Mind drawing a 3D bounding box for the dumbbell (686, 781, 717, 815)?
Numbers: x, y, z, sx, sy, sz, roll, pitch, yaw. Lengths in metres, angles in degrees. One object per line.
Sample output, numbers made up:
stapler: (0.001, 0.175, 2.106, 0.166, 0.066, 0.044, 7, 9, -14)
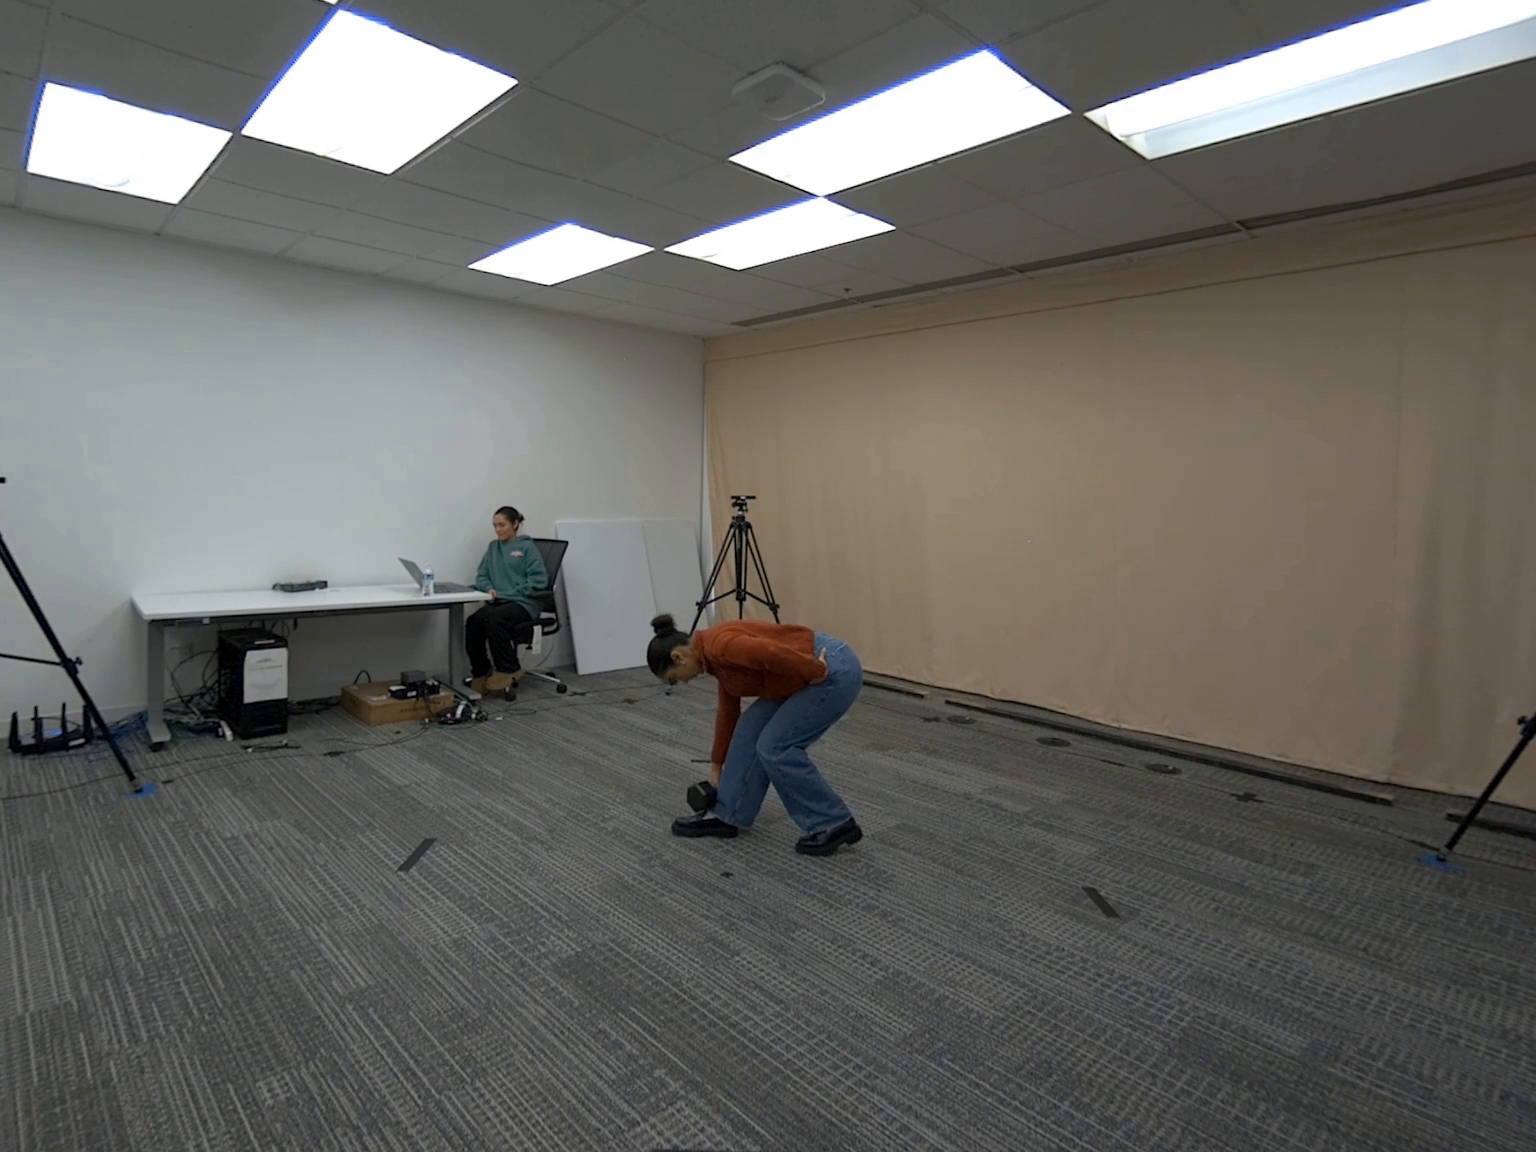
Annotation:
dumbbell: (-0.218, 0.899, 3.525, 0.111, 0.123, 0.287, 7, 5, 40)
